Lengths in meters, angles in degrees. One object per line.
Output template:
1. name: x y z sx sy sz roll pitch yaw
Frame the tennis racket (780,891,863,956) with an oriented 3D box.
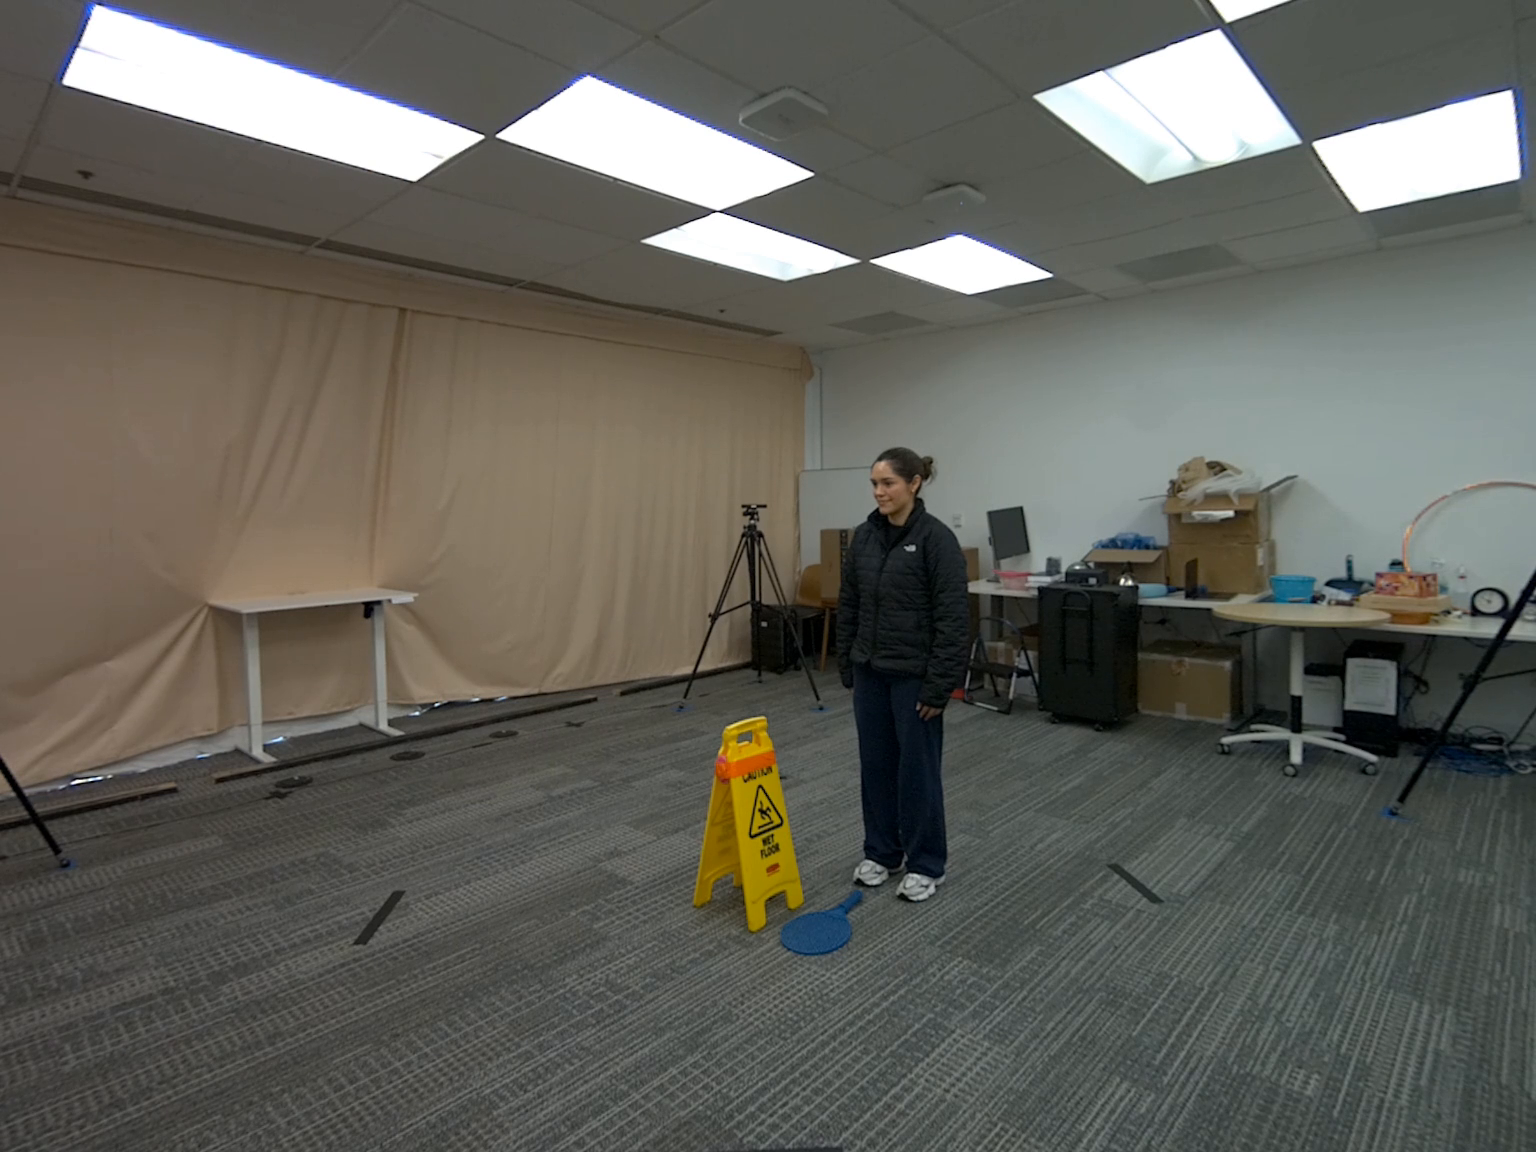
1. tennis racket: 0.213 1.142 2.787 0.220 0.031 0.422 3 8 31
